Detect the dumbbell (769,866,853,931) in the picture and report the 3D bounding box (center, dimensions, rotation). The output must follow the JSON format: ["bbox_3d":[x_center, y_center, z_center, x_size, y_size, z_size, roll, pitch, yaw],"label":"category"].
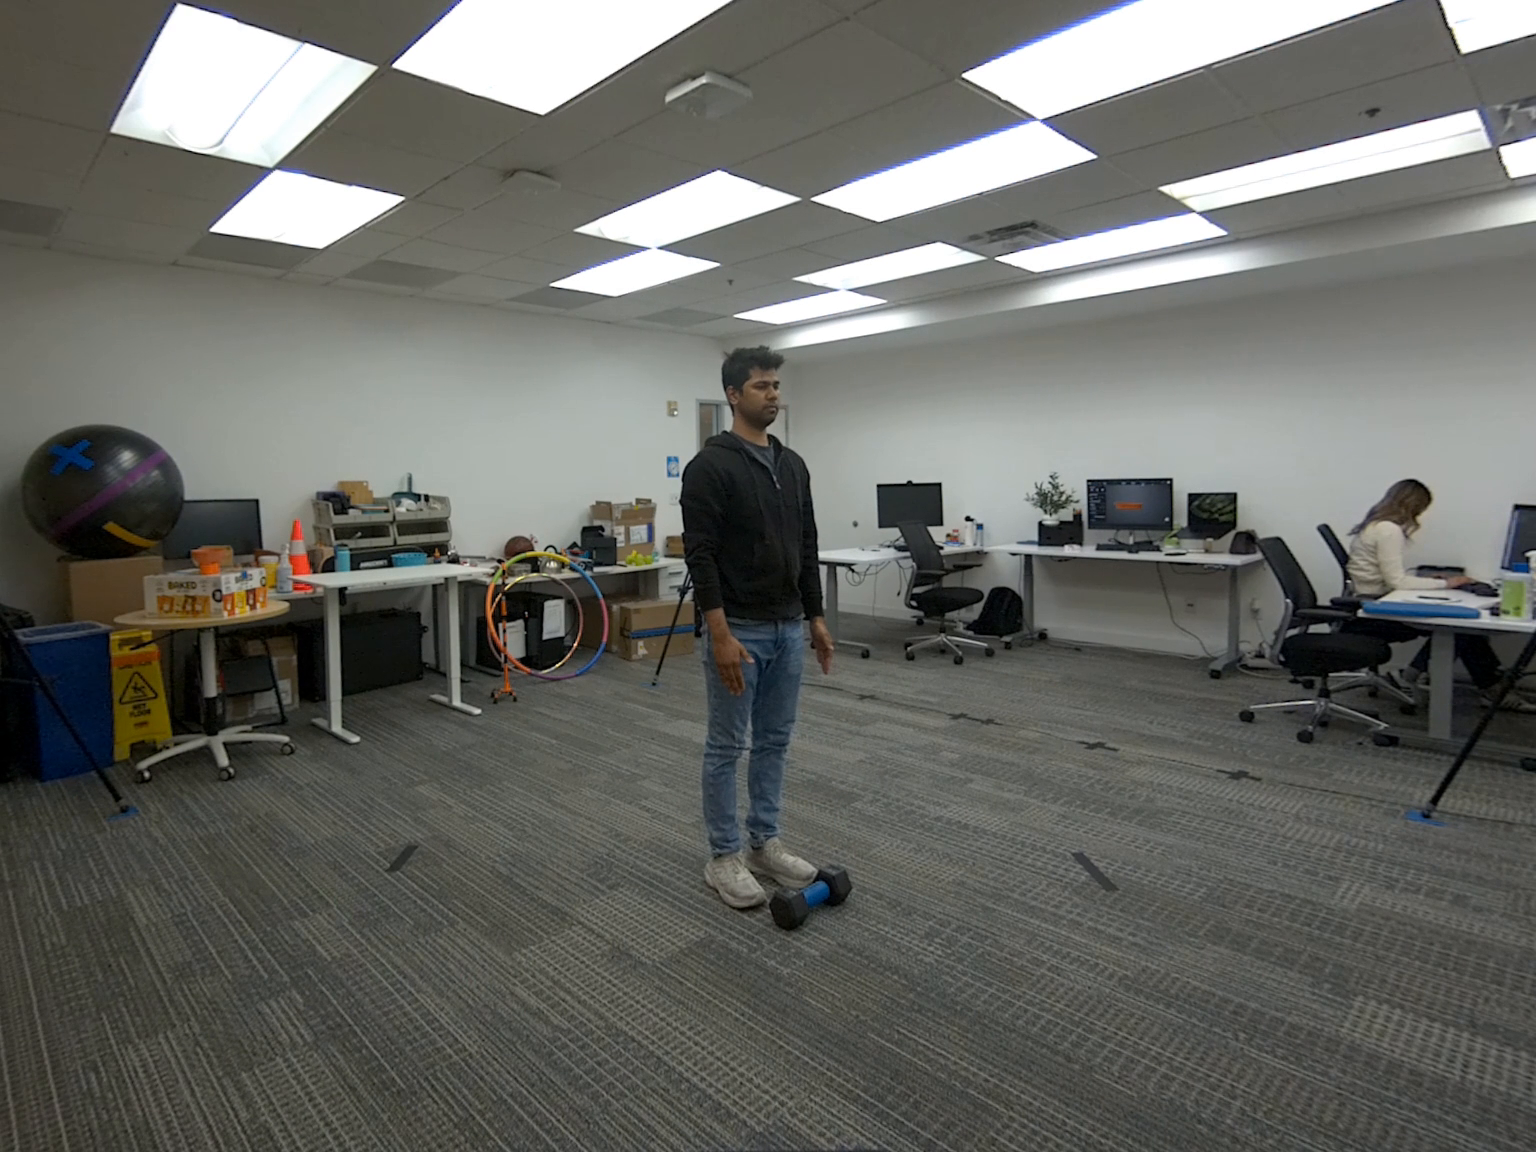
[{"bbox_3d":[0.143,1.029,2.746,0.286,0.108,0.127,-7,8,-43],"label":"dumbbell"}]
